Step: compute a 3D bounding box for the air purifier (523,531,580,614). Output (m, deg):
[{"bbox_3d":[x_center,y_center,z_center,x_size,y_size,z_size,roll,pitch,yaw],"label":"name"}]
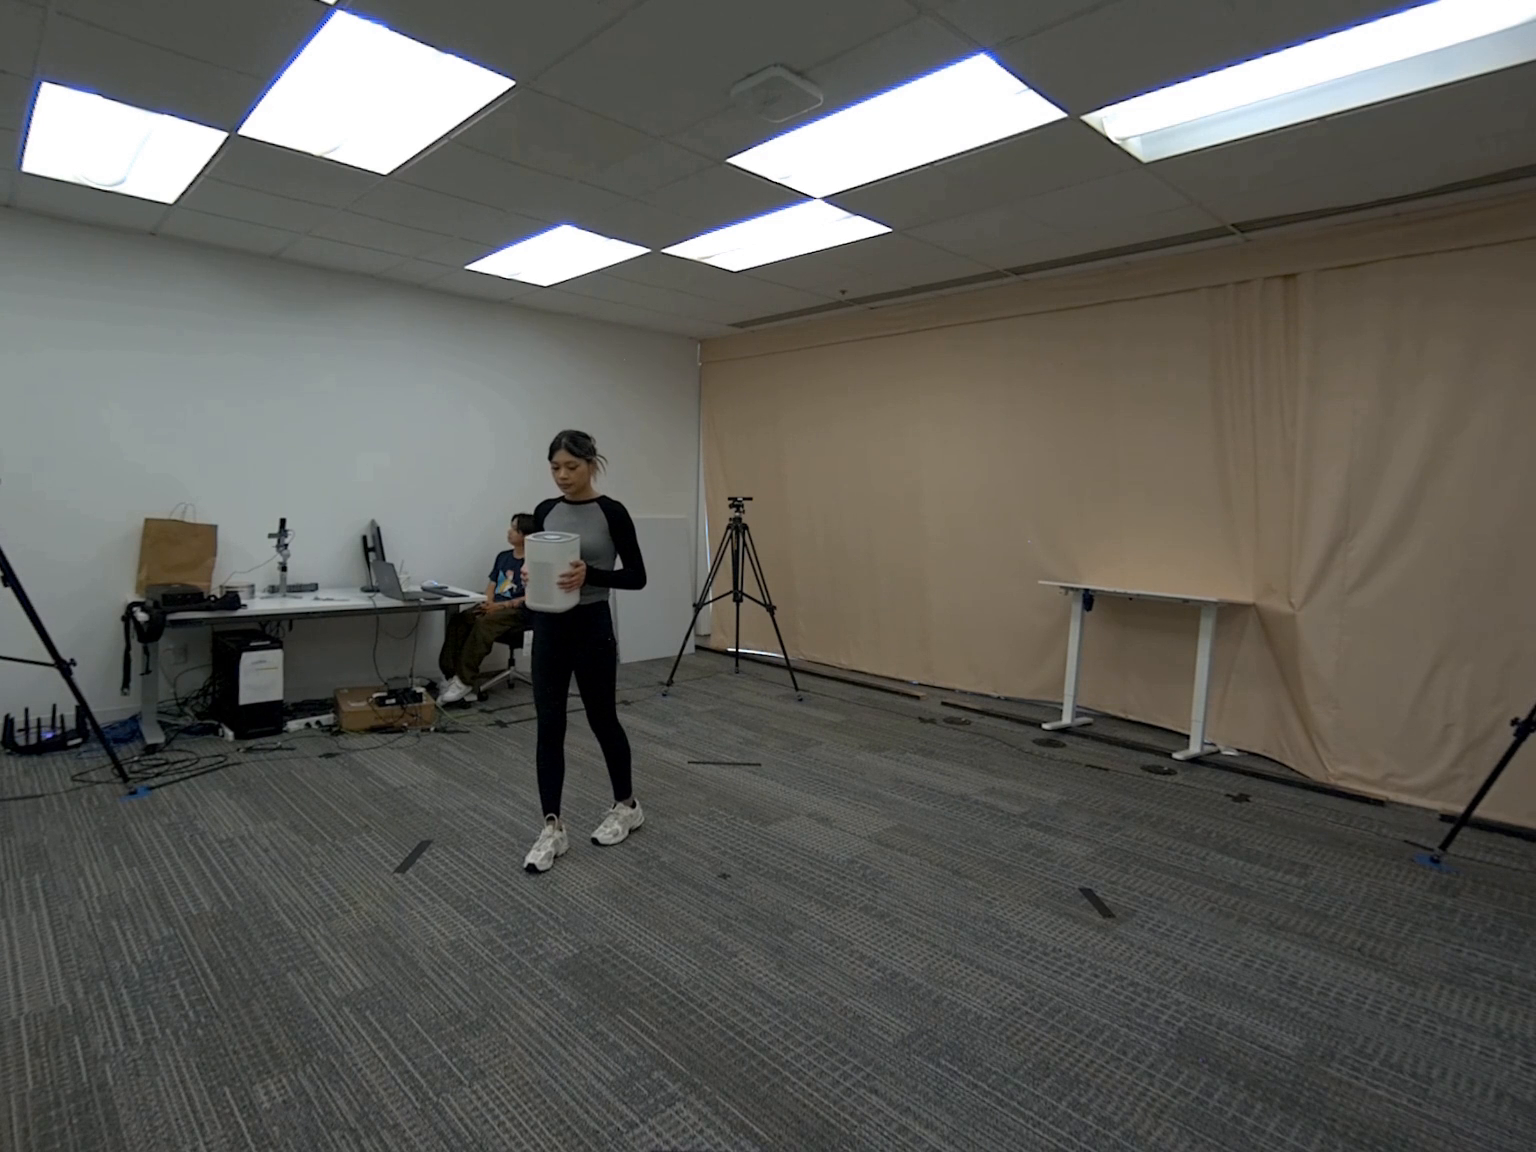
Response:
[{"bbox_3d":[-0.802,-0.014,3.050,0.173,0.263,0.171,3,11,8],"label":"air purifier"}]
